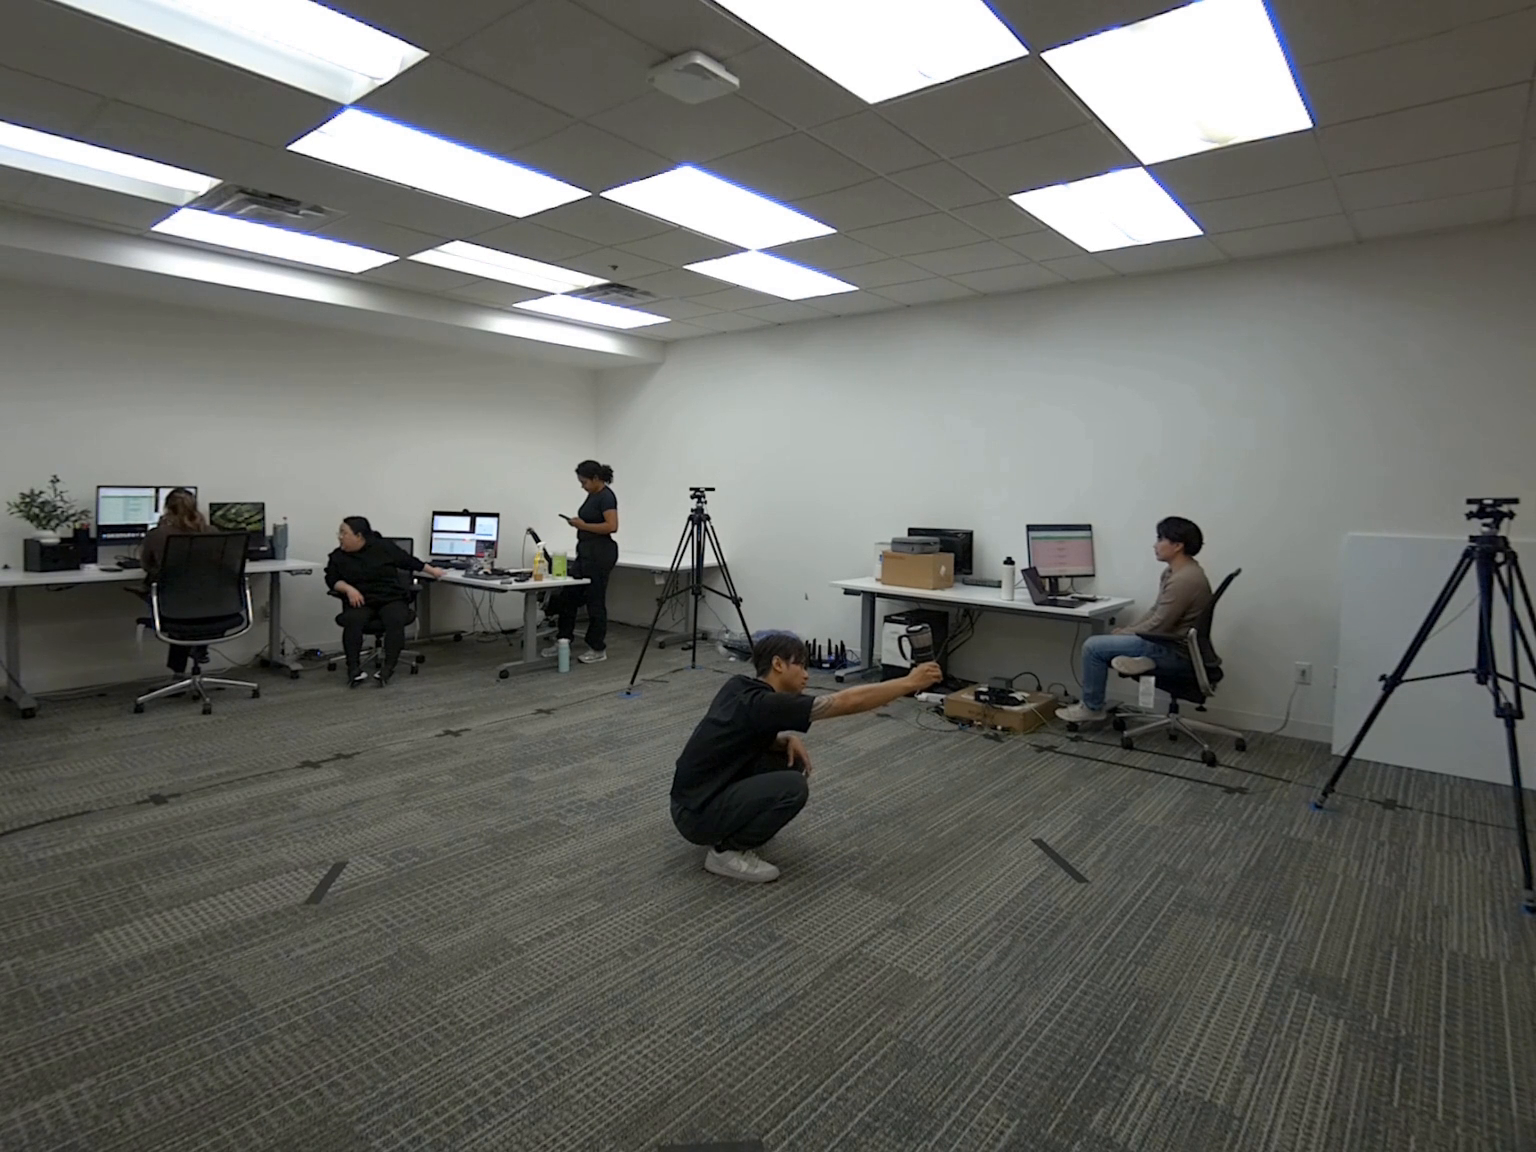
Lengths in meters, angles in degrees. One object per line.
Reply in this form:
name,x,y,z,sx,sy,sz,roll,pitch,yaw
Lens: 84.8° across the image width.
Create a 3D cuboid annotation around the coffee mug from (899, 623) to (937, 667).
coffee mug,0.547,0.283,3.137,0.125,0.202,0.086,-10,7,36
